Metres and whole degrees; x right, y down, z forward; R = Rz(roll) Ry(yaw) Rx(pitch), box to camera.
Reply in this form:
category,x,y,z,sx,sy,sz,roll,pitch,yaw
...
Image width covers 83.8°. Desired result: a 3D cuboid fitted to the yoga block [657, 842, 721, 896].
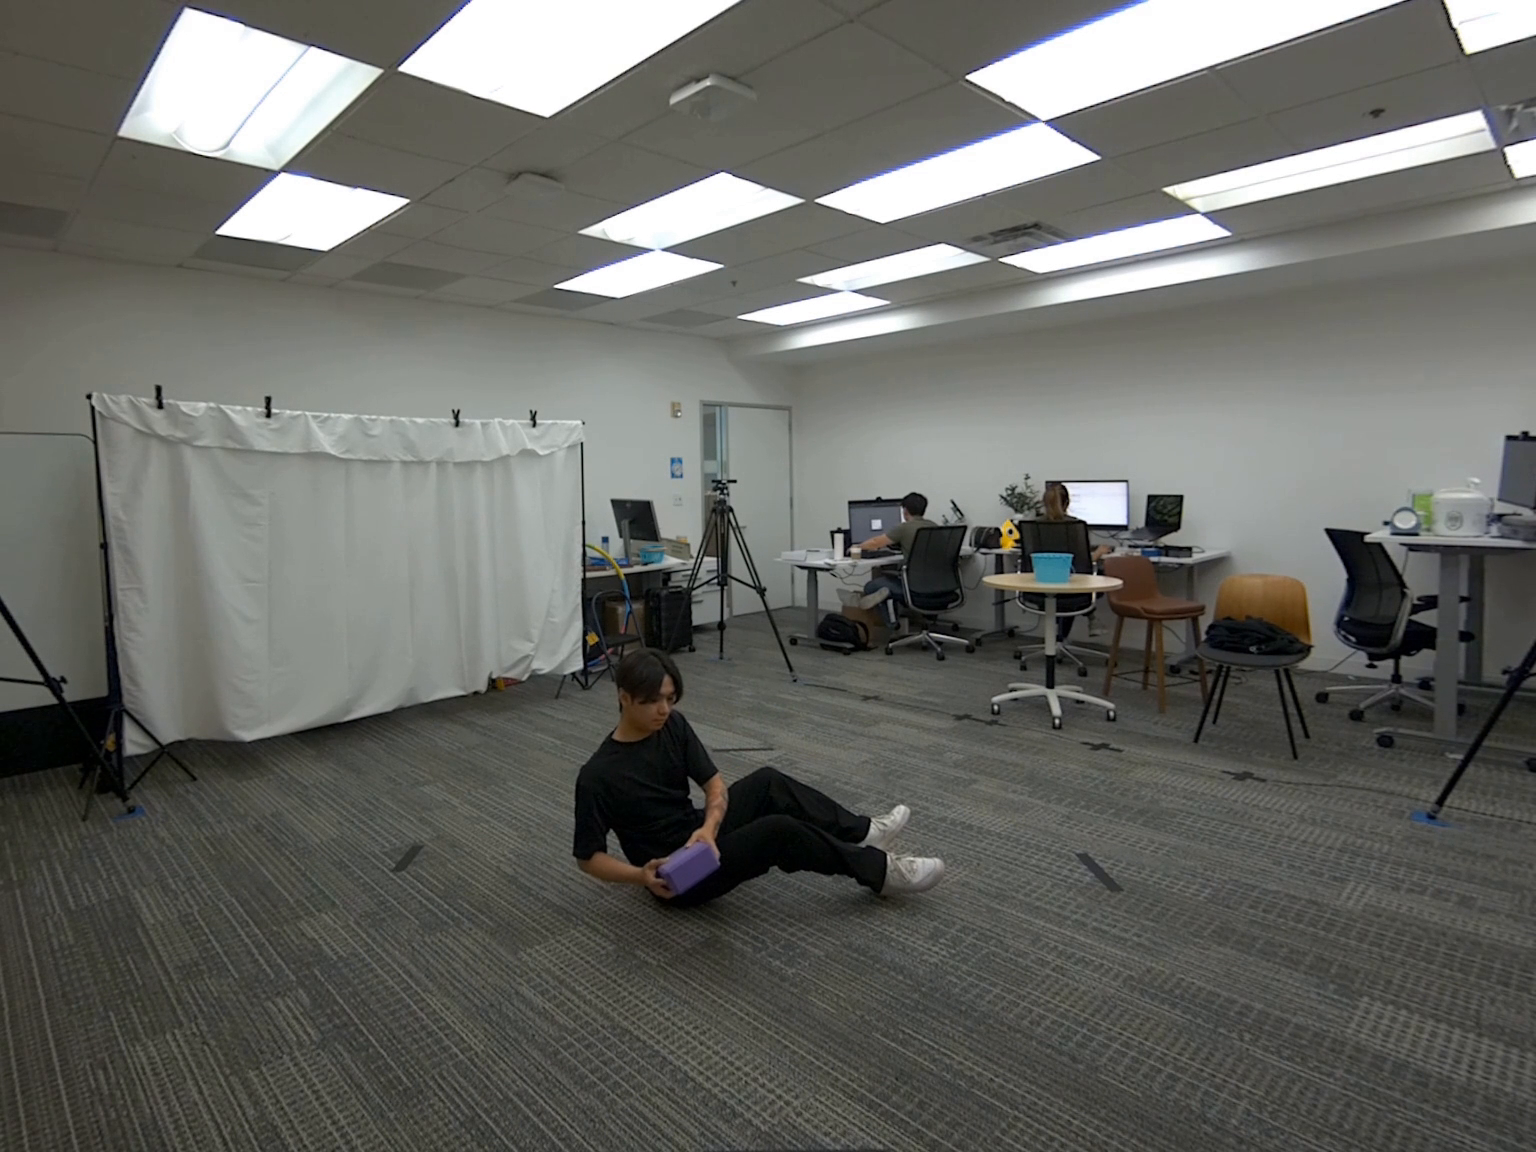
category,x,y,z,sx,sy,sz,roll,pitch,yaw
yoga block,-0.250,0.857,2.499,0.148,0.077,0.230,-27,-2,-17
